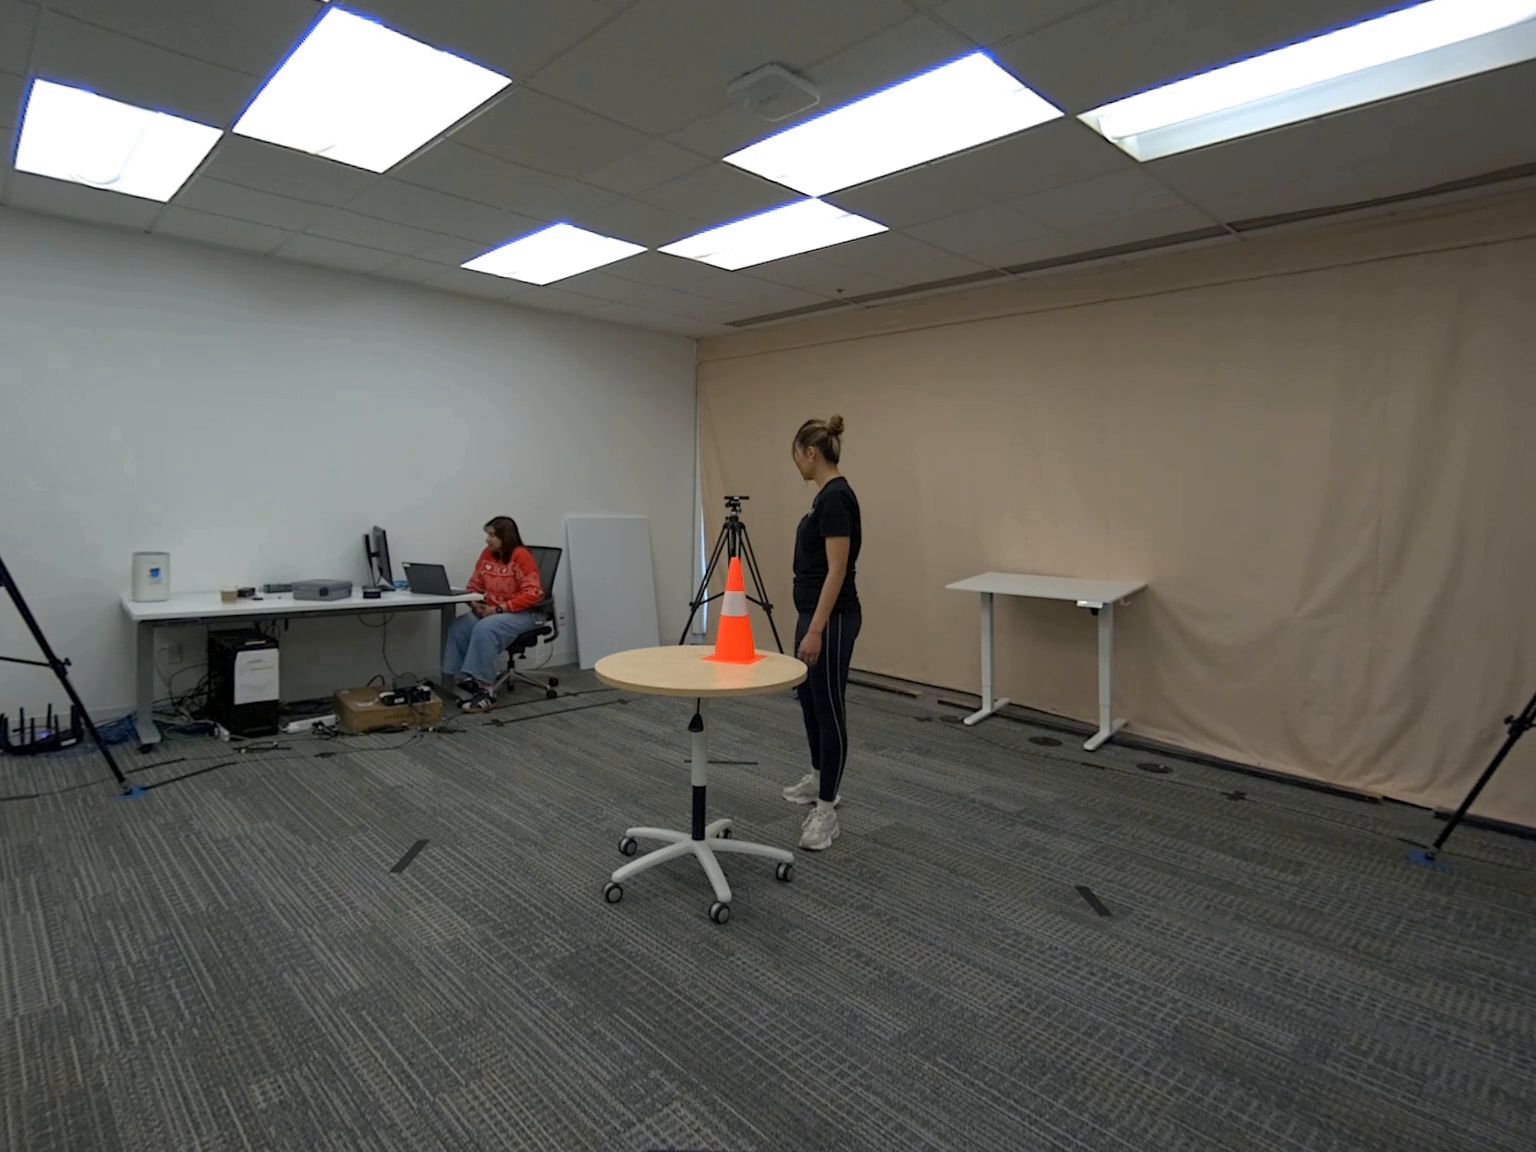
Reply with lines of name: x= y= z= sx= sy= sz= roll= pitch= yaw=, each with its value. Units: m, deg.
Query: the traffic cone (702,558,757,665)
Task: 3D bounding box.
traffic cone: x=-0.127 y=0.127 z=3.176 sx=0.207 sy=0.383 sz=0.202 roll=2 pitch=3 yaw=21
